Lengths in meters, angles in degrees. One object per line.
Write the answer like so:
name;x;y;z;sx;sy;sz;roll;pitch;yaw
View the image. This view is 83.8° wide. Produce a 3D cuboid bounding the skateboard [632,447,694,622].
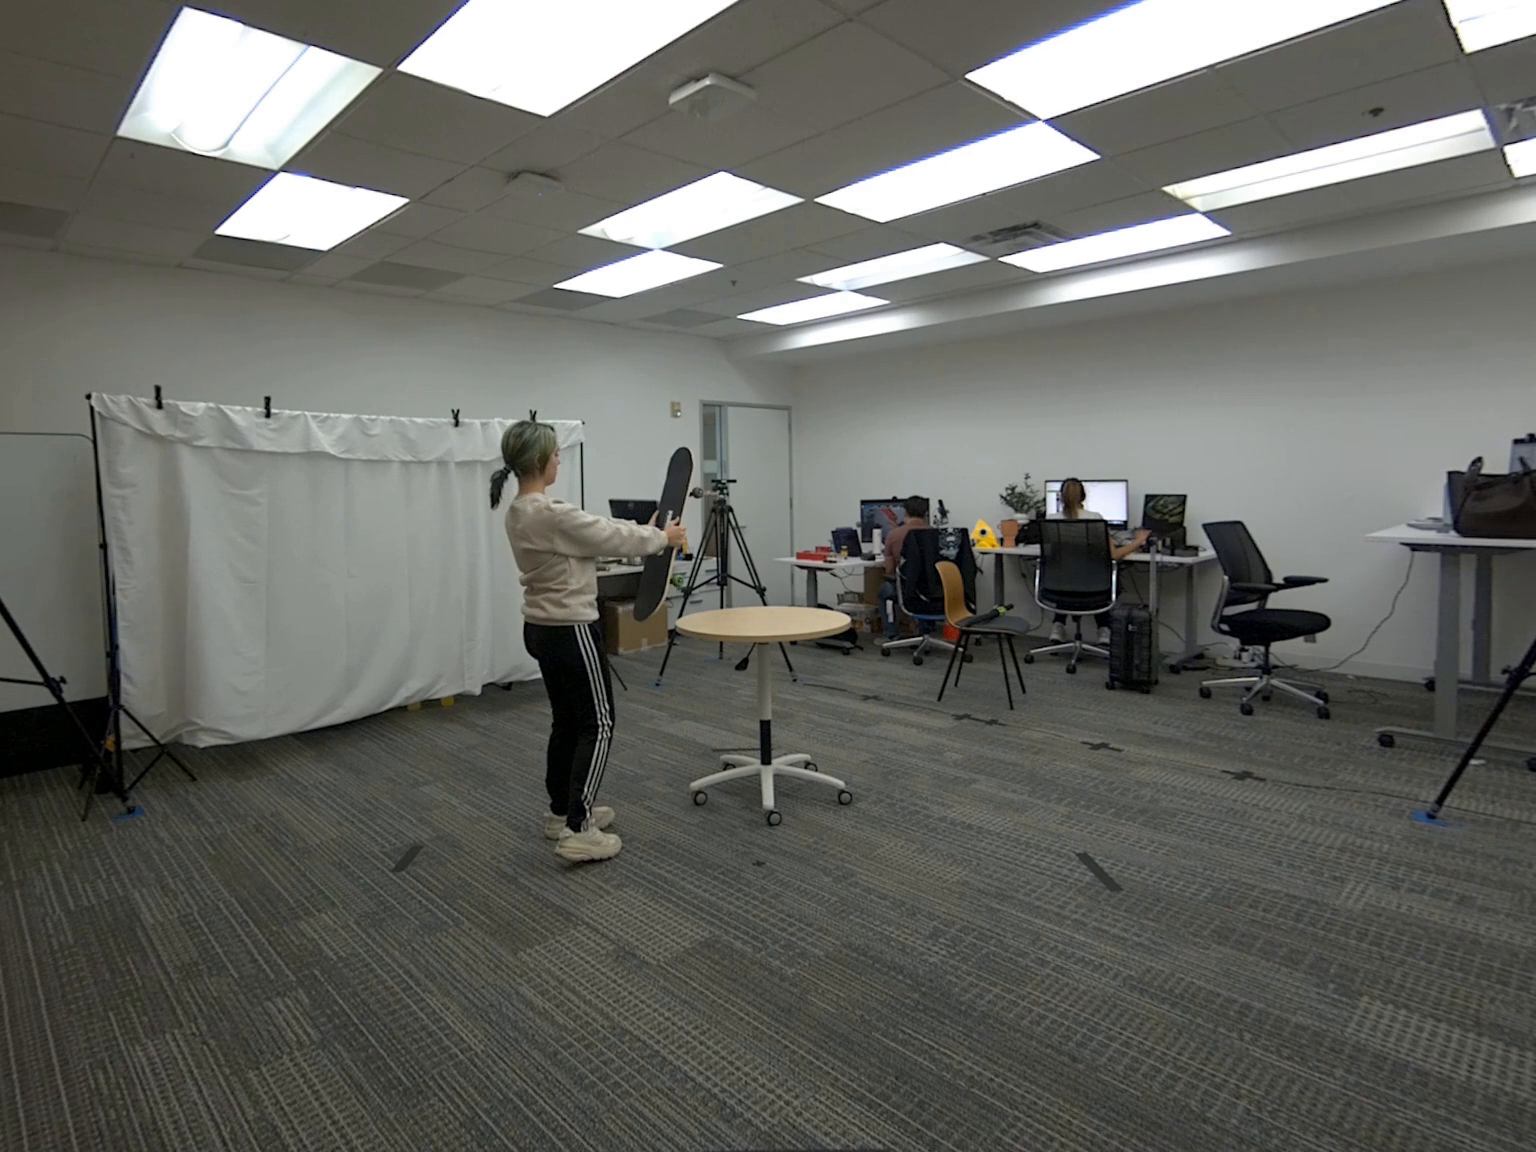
skateboard;-0.406;-0.167;3.581;0.106;0.795;0.198;25;-24;-36
